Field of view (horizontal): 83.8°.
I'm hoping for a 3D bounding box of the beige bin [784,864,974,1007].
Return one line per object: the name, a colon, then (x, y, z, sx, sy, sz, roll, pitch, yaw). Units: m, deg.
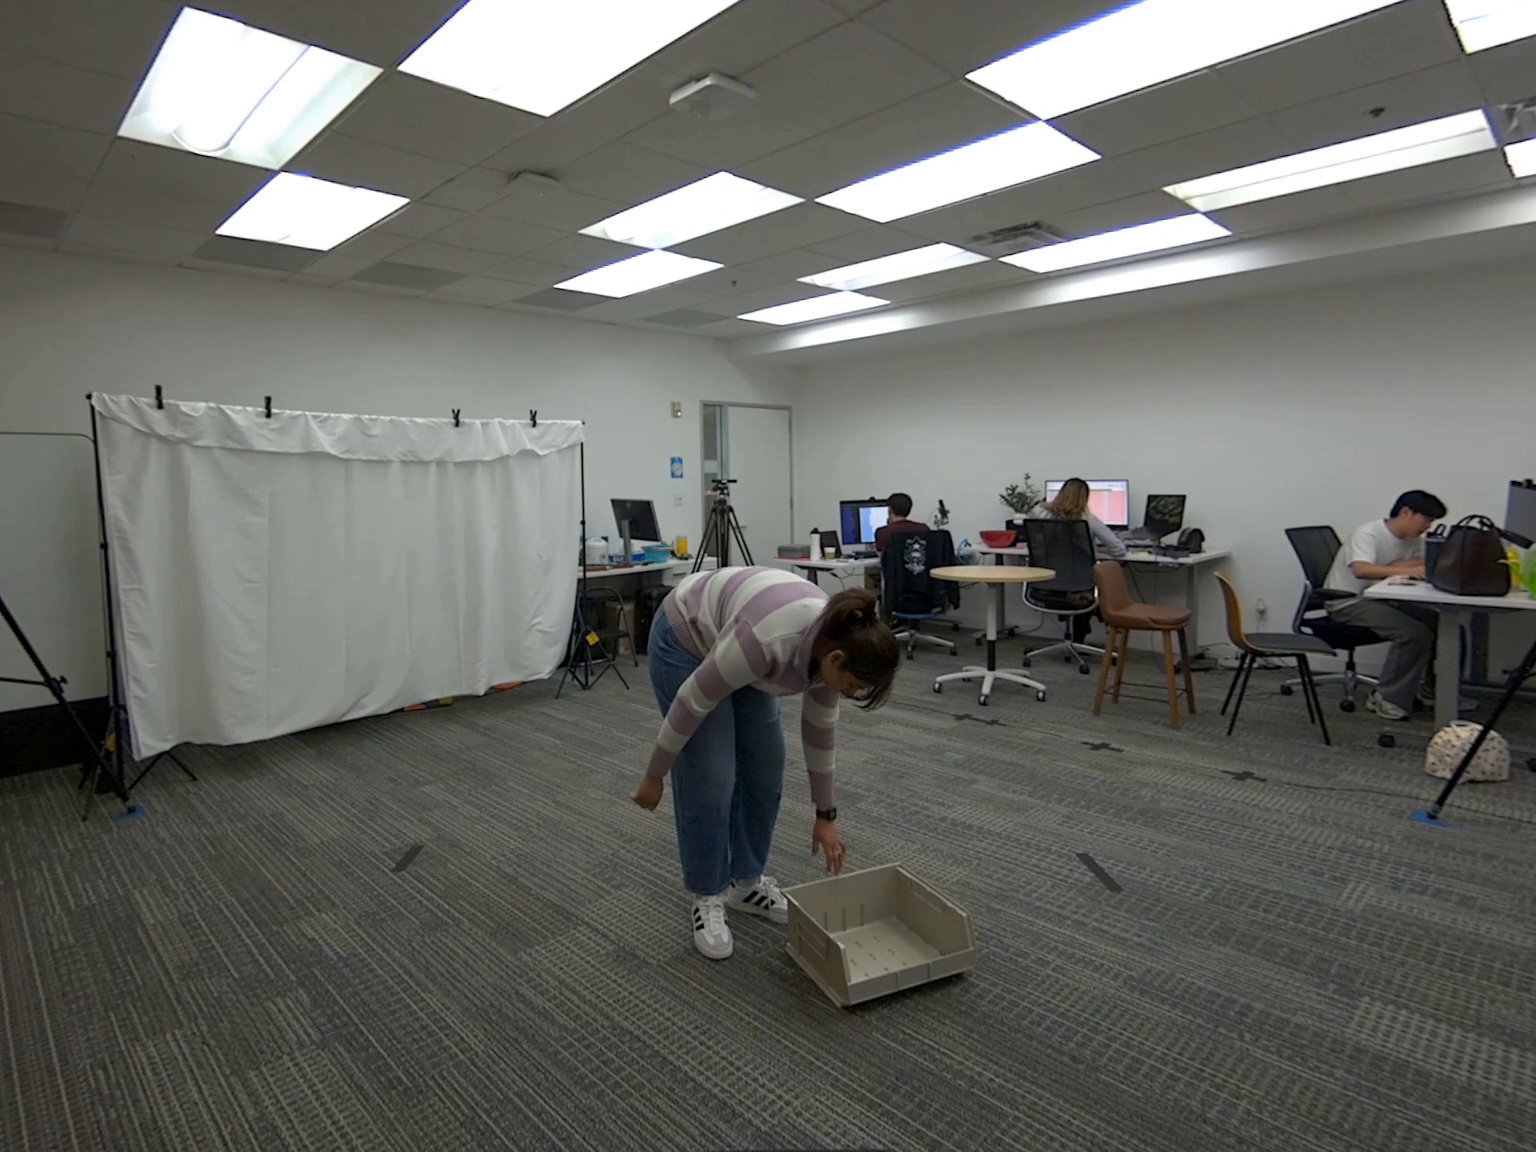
beige bin: (0.315, 1.028, 2.450, 0.414, 0.188, 0.386, -4, 6, -25)
